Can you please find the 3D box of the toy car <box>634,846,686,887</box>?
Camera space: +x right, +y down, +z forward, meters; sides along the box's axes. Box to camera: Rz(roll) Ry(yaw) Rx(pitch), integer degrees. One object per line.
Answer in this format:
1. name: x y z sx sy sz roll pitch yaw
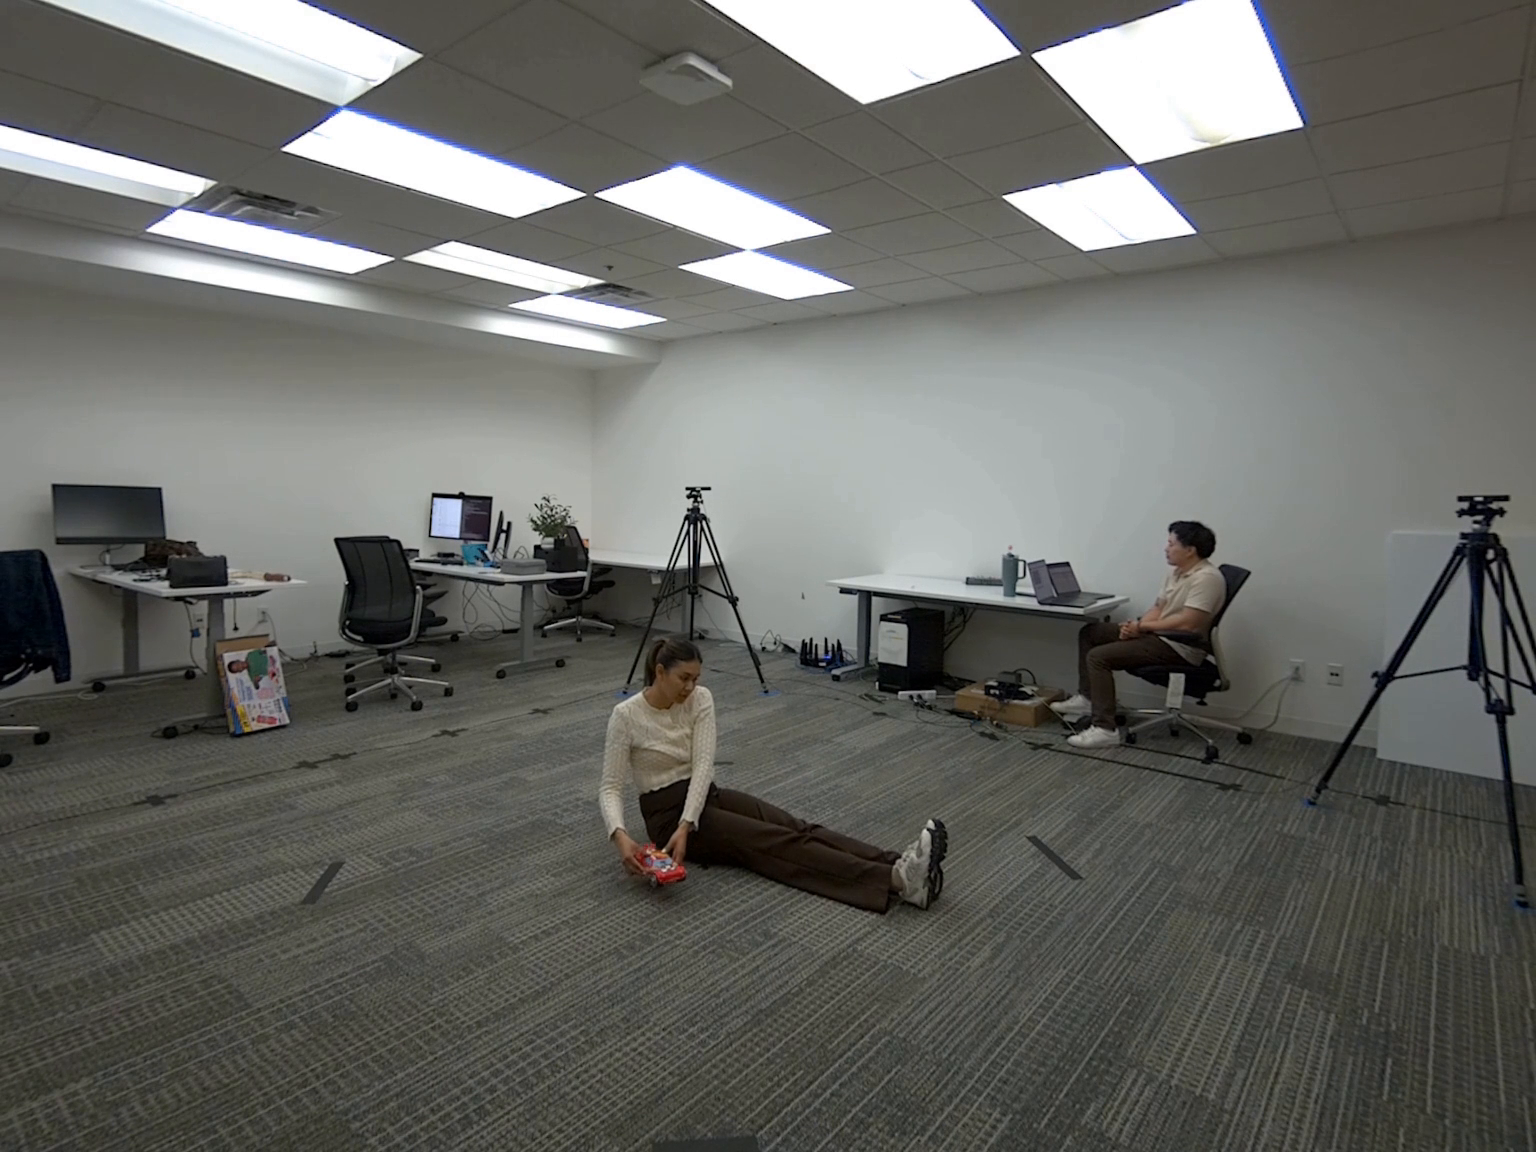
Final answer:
1. toy car: -0.392 0.996 2.935 0.127 0.082 0.263 -4 10 -29
